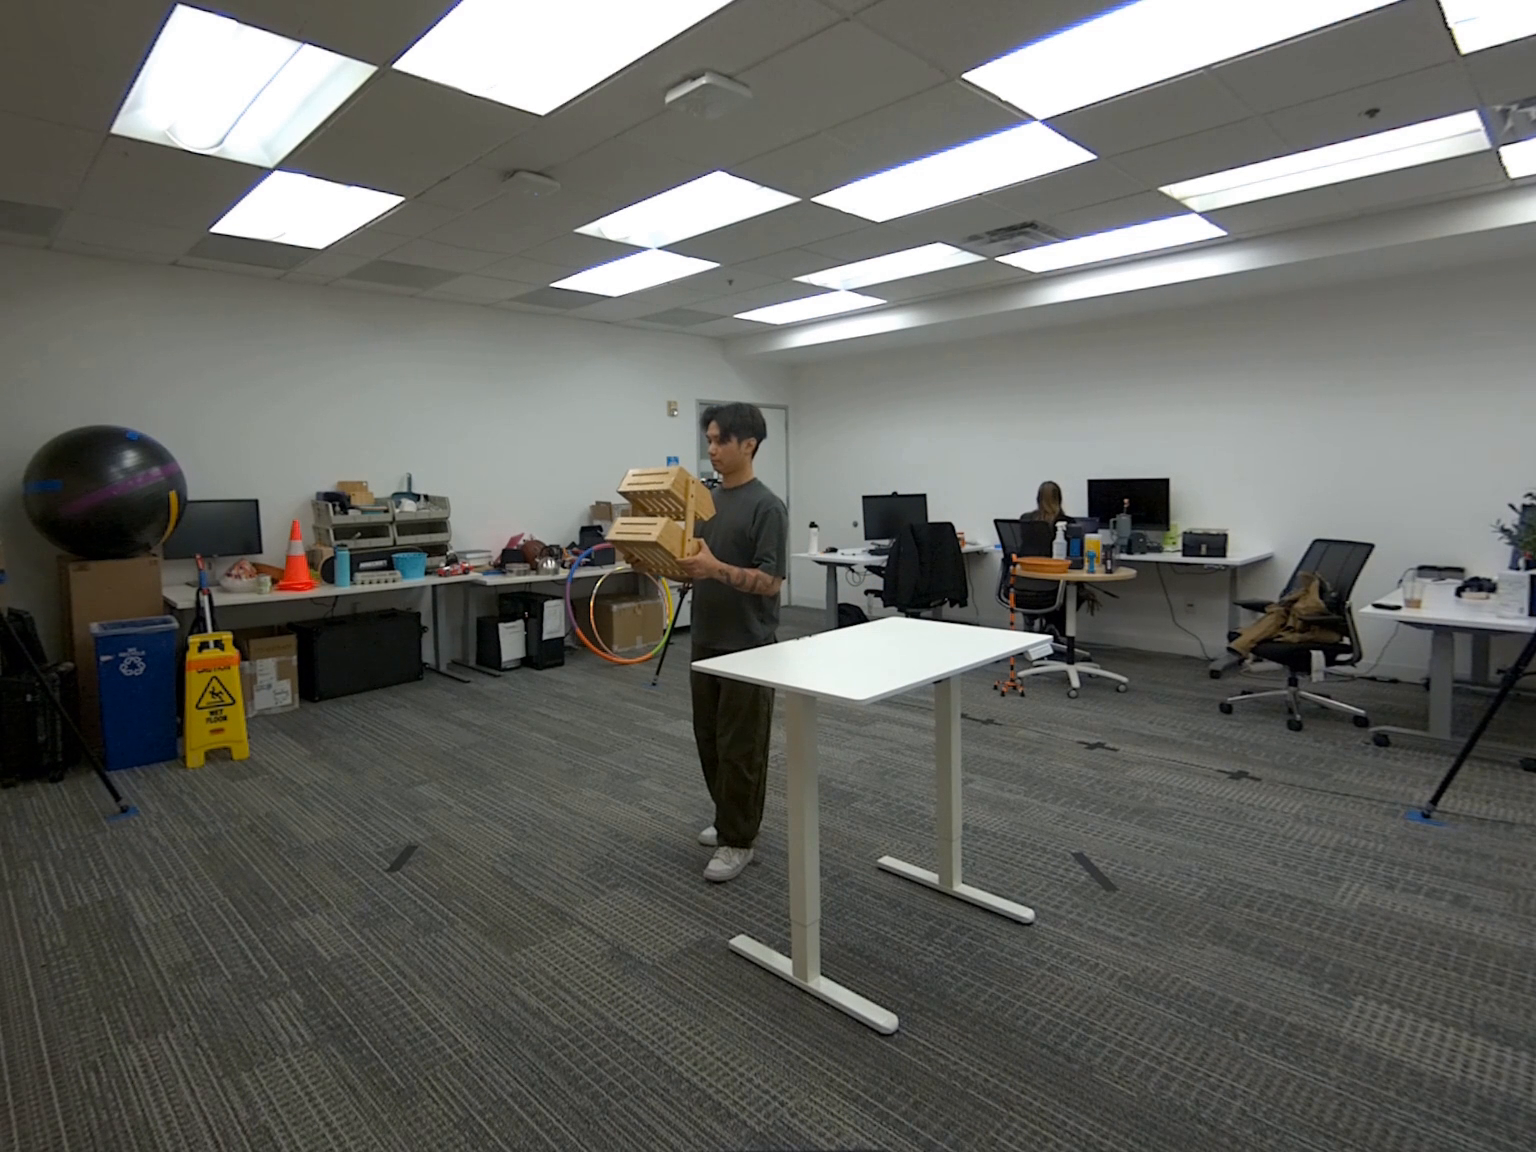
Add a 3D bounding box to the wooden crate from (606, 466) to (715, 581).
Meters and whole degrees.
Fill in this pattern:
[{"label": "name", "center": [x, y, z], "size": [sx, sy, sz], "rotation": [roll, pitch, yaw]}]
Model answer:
[{"label": "wooden crate", "center": [-0.346, -0.183, 2.937], "size": [0.334, 0.275, 0.291], "rotation": [3, -30, 47]}]
